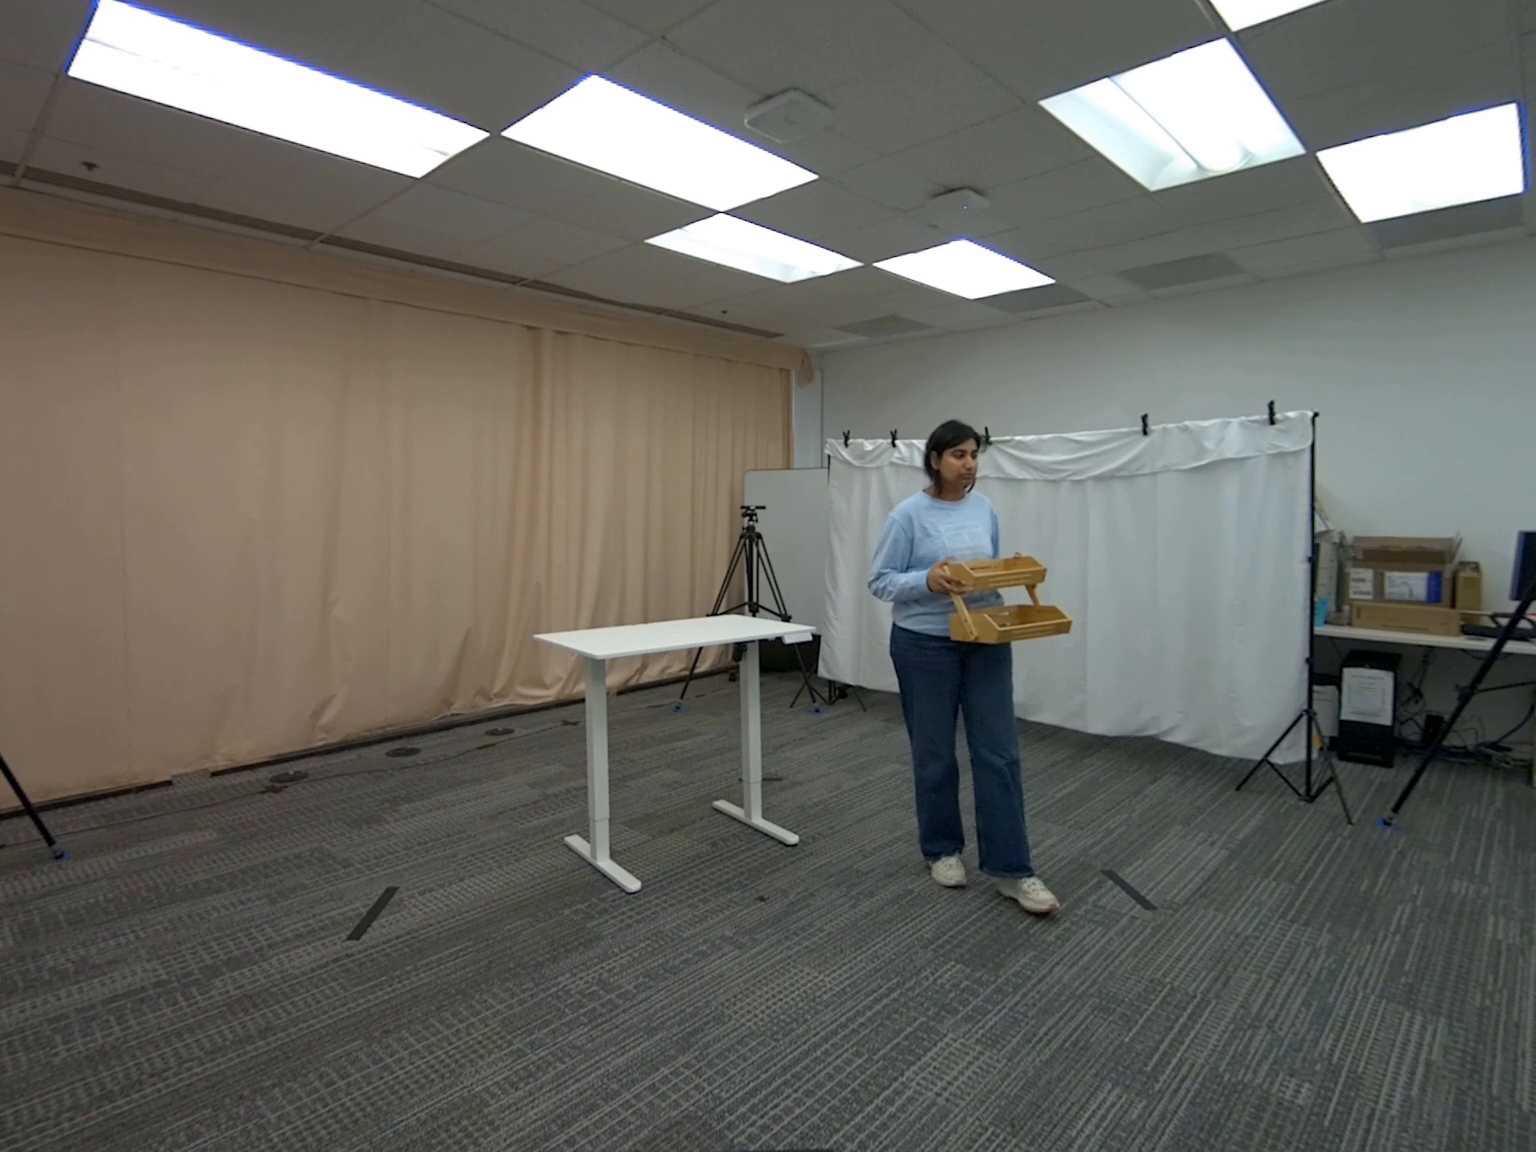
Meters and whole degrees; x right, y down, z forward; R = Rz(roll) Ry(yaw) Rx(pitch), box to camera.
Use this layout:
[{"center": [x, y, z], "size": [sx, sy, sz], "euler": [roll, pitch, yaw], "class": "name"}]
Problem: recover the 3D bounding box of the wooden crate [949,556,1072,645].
[{"center": [0.802, 0.071, 2.847], "size": [0.317, 0.273, 0.308], "euler": [-5, 0, -23], "class": "wooden crate"}]
